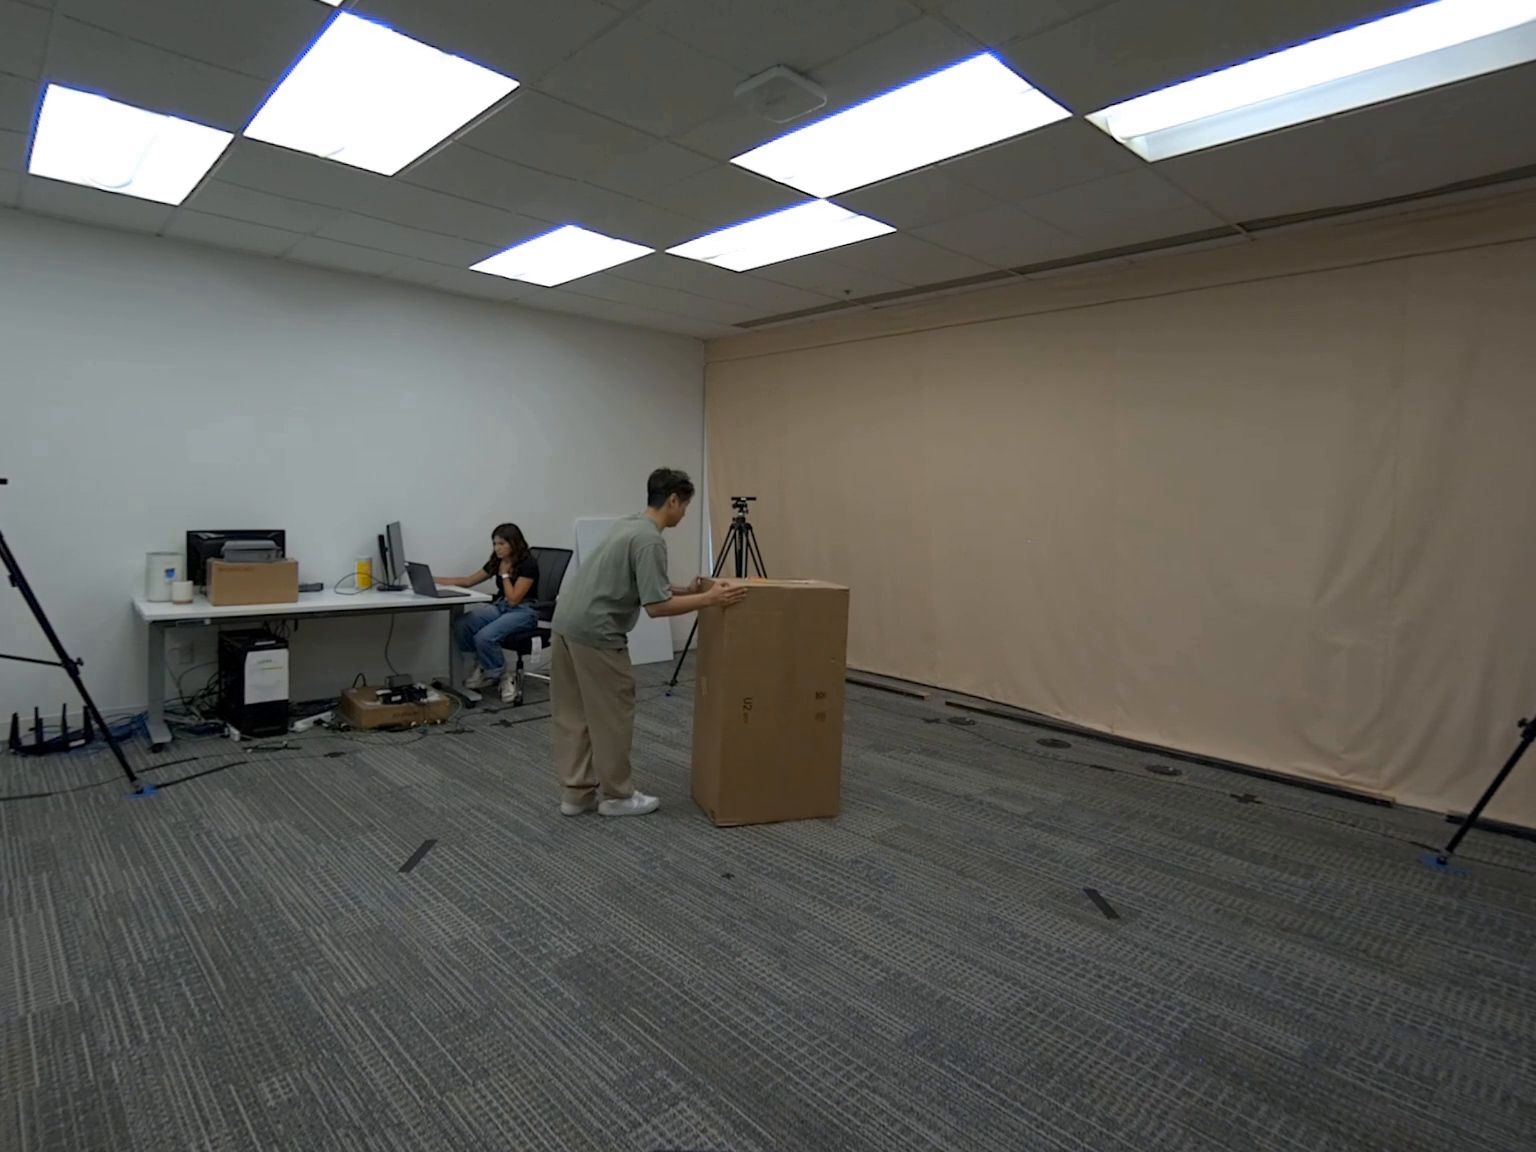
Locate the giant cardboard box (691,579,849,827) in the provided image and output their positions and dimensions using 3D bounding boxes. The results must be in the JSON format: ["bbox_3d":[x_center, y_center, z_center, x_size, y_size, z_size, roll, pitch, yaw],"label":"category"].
[{"bbox_3d":[-0.011,0.536,3.827,0.569,1.024,0.433,2,3,-20],"label":"giant cardboard box"}]
